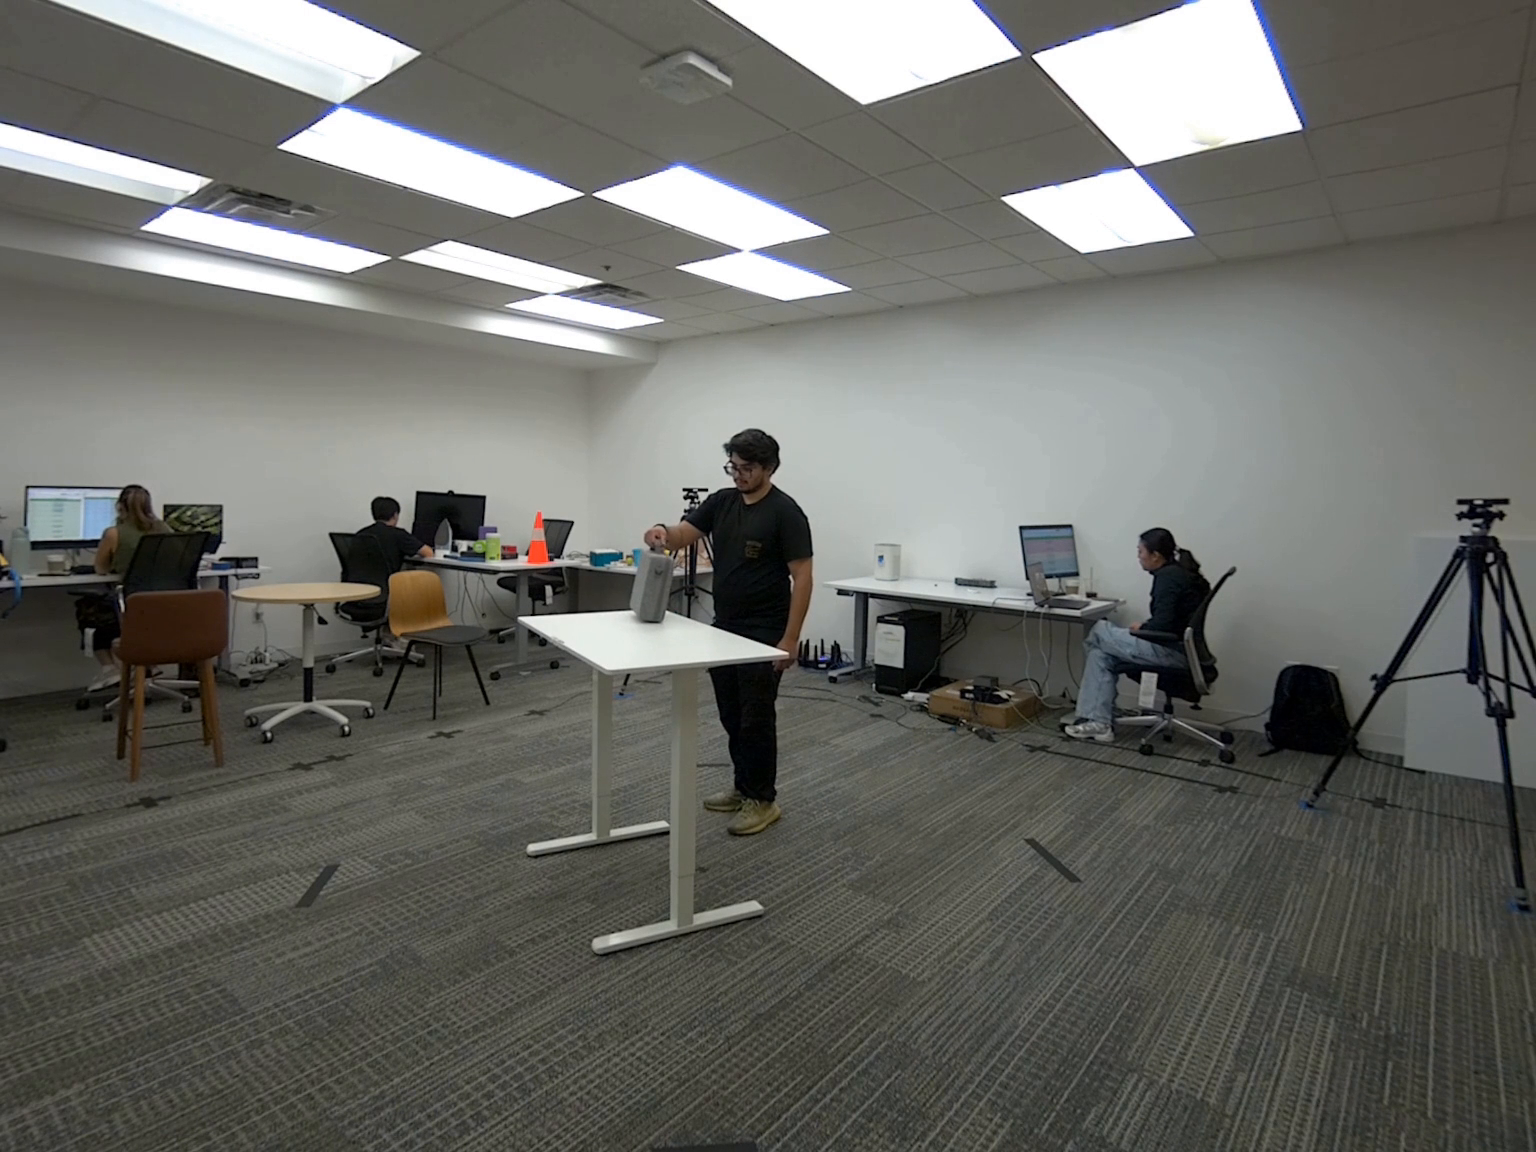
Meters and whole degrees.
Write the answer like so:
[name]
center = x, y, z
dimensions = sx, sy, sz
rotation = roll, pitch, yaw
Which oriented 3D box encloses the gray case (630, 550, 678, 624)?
[gray case]
center = -0.454, 0.024, 3.277
dimensions = 0.102, 0.260, 0.262
rotation = 9, 4, -18
